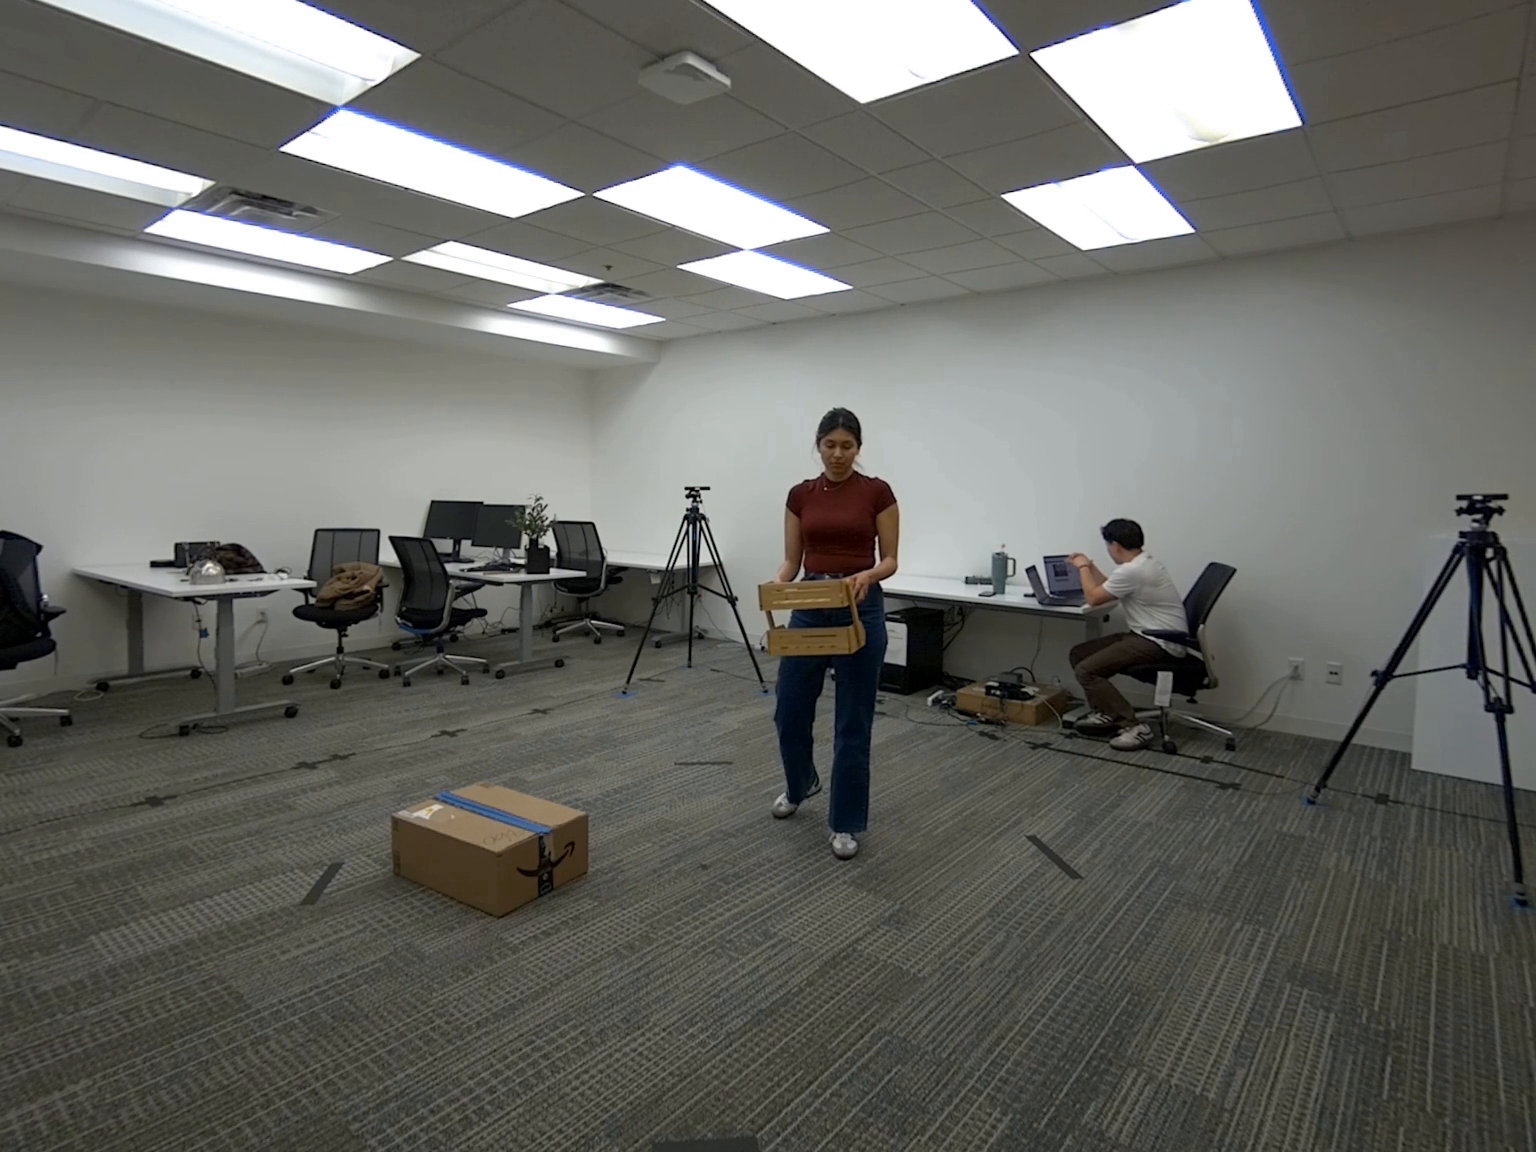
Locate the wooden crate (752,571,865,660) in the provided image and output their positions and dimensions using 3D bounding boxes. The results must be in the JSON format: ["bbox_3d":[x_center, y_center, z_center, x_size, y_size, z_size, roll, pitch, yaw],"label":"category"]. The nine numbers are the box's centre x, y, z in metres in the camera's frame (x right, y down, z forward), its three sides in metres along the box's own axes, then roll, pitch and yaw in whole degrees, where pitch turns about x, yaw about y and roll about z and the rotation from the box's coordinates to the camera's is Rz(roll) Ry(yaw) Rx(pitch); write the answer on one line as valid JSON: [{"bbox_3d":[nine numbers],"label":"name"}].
[{"bbox_3d":[0.157,0.130,3.058,0.331,0.273,0.297,-5,3,21],"label":"wooden crate"}]
